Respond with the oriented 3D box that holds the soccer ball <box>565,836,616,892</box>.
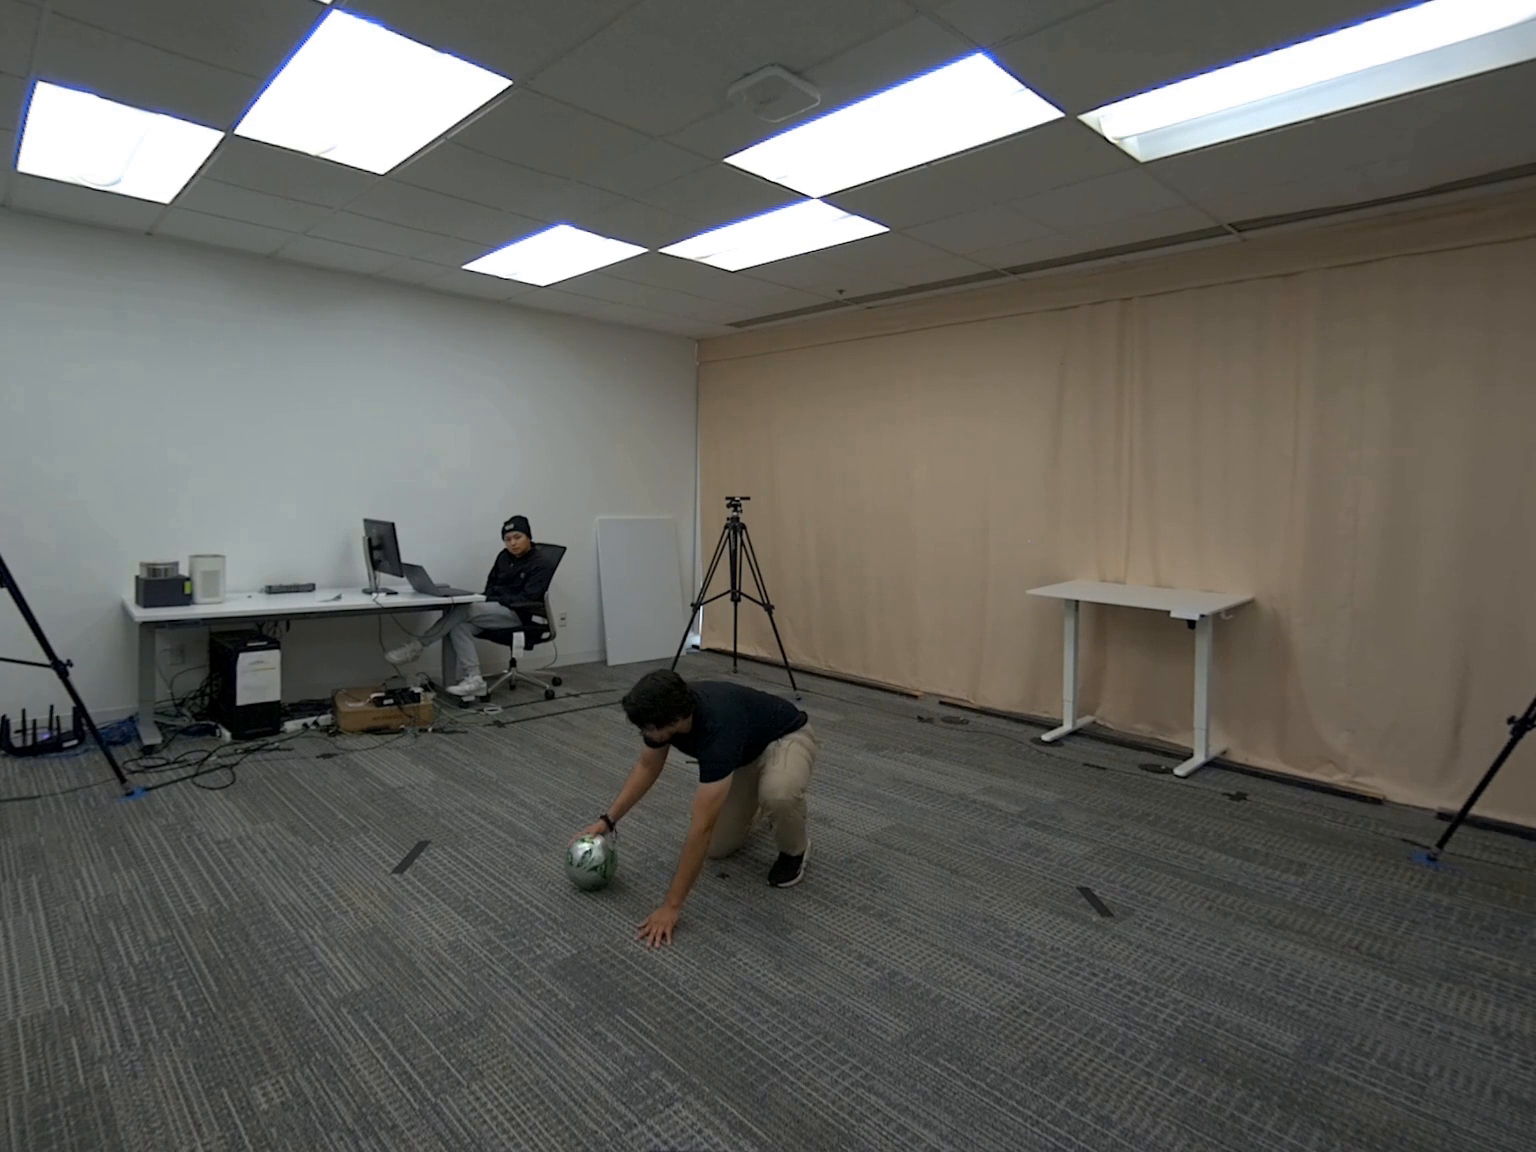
[{"bbox_3d":[-0.632,1.003,2.993,0.187,0.187,0.188,1,4,-1],"label":"soccer ball"}]
